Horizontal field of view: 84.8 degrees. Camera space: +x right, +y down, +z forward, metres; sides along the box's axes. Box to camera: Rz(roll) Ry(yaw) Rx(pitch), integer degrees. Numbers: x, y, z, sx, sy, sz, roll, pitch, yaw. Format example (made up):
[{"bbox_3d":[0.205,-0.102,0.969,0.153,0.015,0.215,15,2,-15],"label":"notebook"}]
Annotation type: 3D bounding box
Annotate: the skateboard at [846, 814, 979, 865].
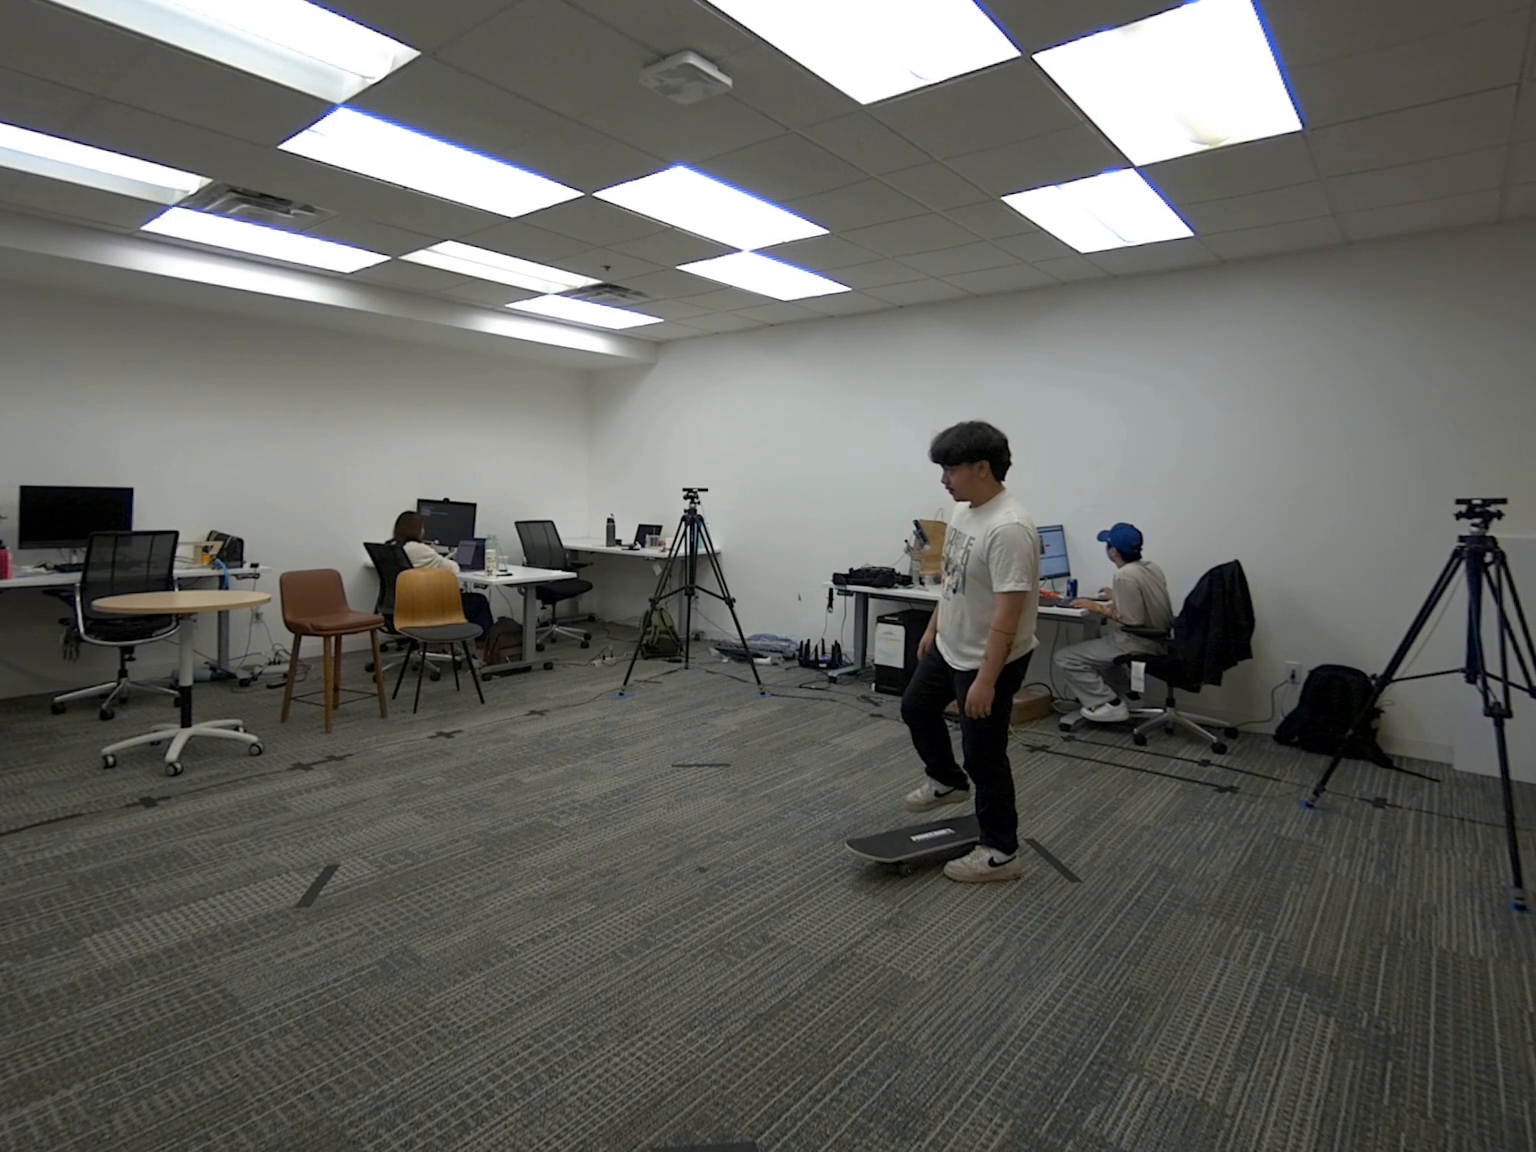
[{"bbox_3d":[0.624,1.019,3.259,0.765,0.110,0.199,-2,6,-29],"label":"skateboard"}]
